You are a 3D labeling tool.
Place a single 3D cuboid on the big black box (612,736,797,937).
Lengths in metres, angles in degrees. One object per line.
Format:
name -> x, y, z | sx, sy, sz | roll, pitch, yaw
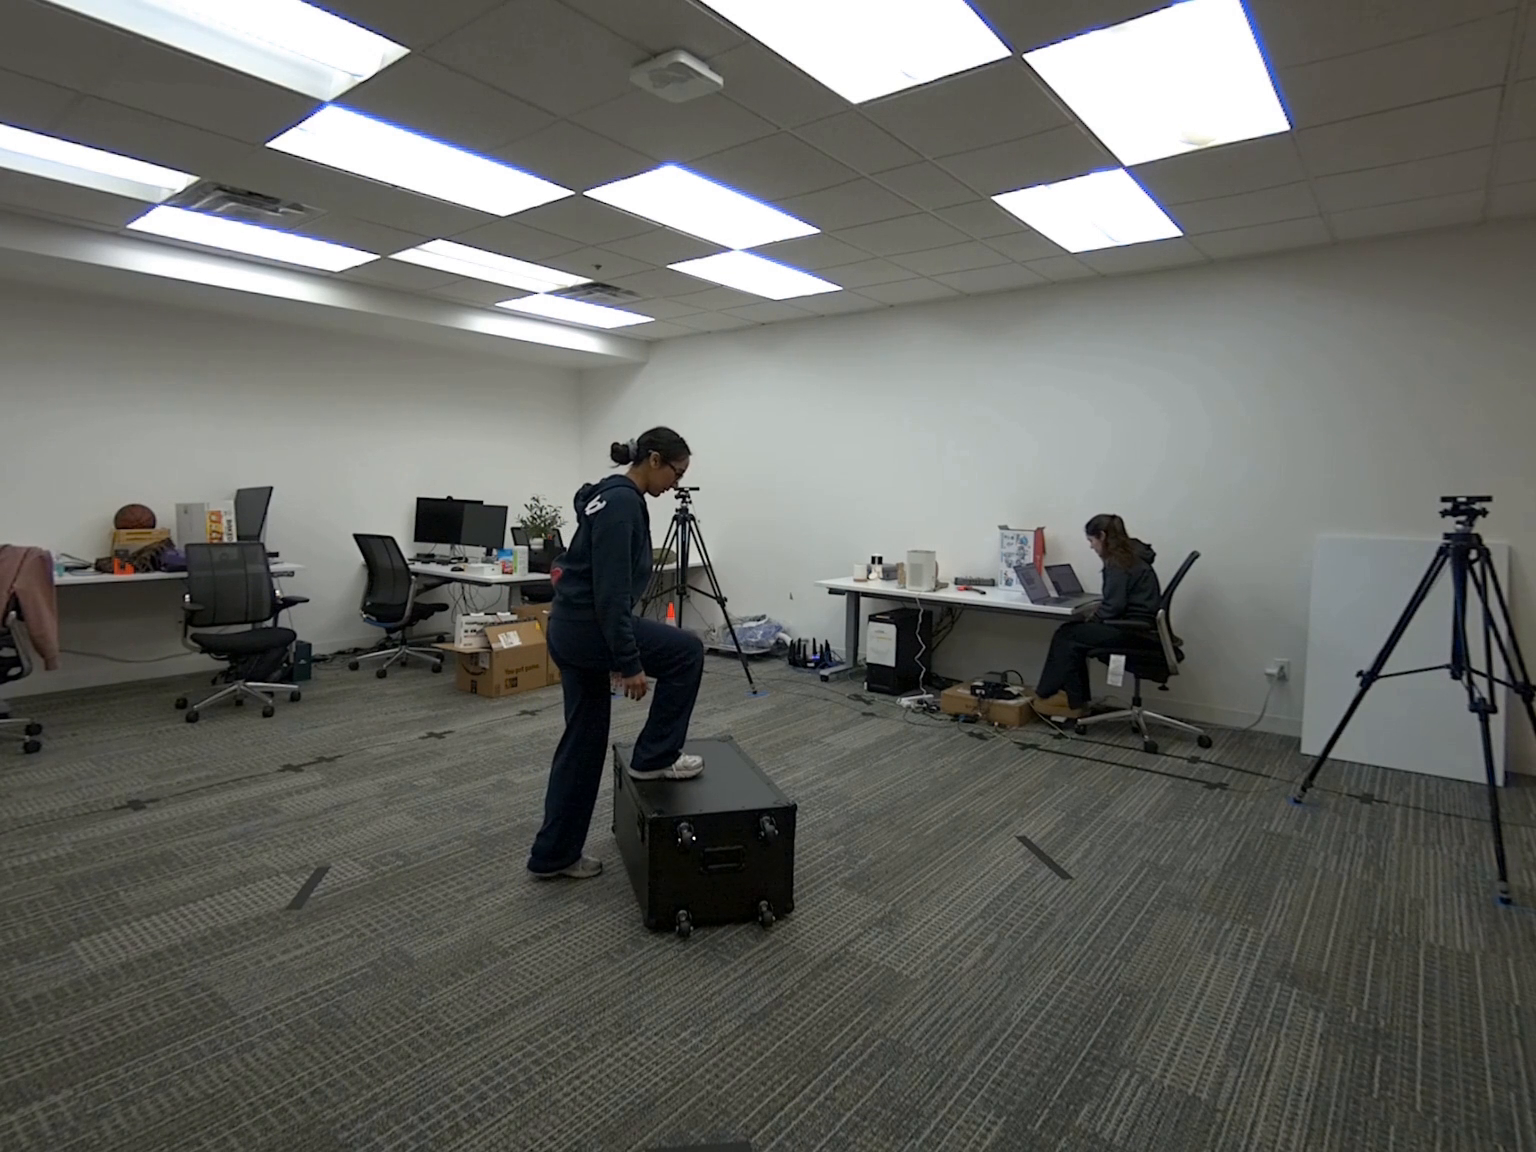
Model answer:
big black box -> -0.261, 0.883, 3.017 | 0.512, 0.395, 0.880 | -1, 5, -18
